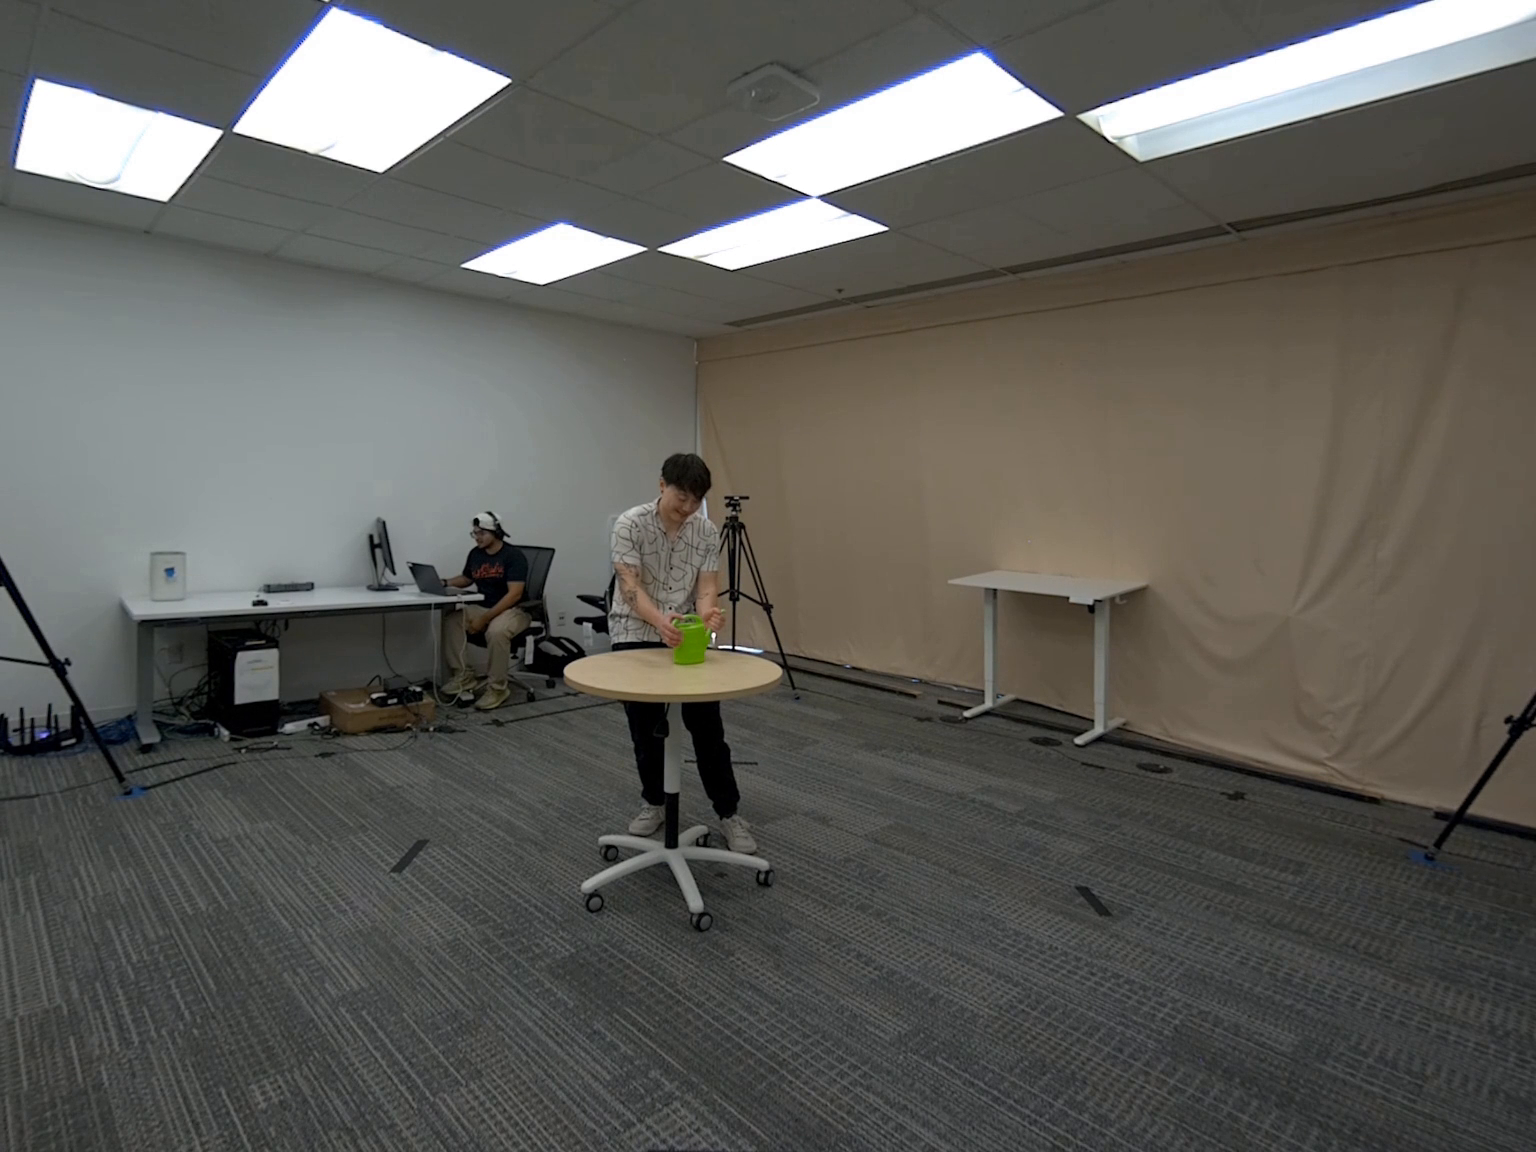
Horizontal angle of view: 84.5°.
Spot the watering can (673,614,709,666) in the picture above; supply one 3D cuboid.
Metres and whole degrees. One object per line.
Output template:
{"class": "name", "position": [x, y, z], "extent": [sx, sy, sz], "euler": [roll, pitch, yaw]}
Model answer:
{"class": "watering can", "position": [-0.259, 0.232, 3.109], "extent": [0.272, 0.176, 0.101], "euler": [-1, 11, -40]}
